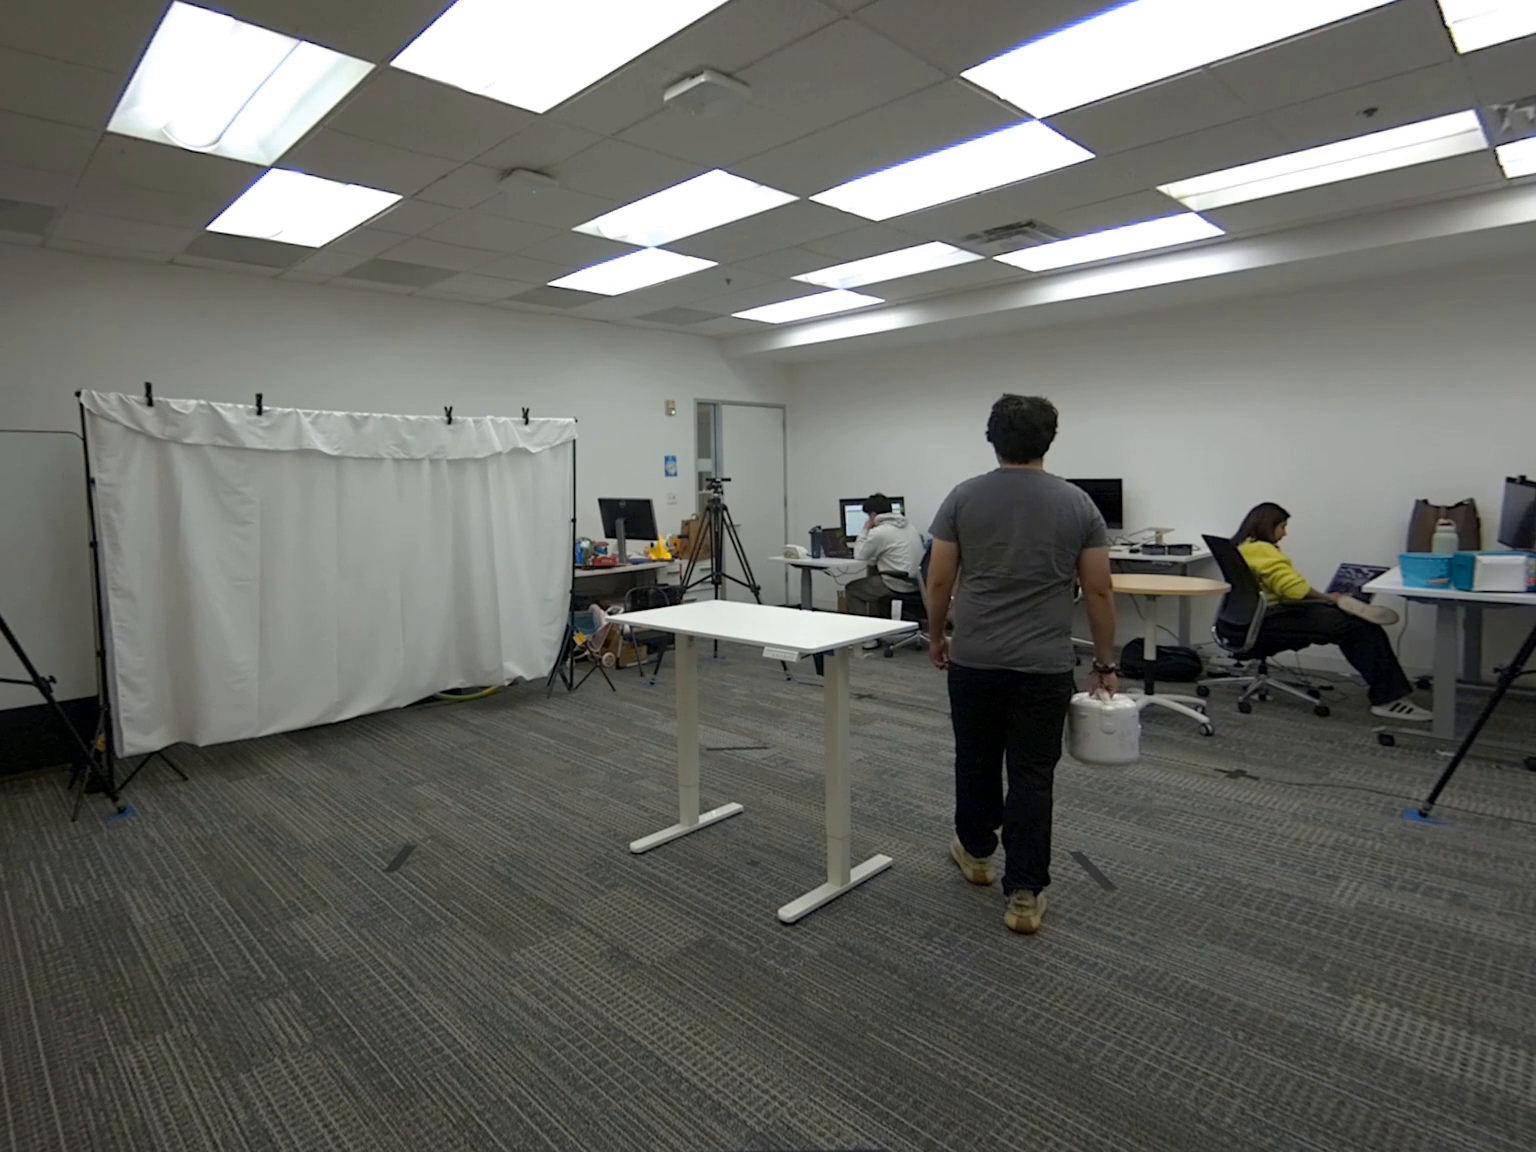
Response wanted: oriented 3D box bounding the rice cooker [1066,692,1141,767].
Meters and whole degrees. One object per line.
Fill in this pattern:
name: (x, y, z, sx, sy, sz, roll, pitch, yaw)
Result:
rice cooker: (1.070, 0.472, 2.743, 0.220, 0.233, 0.217, -2, 0, 14)
